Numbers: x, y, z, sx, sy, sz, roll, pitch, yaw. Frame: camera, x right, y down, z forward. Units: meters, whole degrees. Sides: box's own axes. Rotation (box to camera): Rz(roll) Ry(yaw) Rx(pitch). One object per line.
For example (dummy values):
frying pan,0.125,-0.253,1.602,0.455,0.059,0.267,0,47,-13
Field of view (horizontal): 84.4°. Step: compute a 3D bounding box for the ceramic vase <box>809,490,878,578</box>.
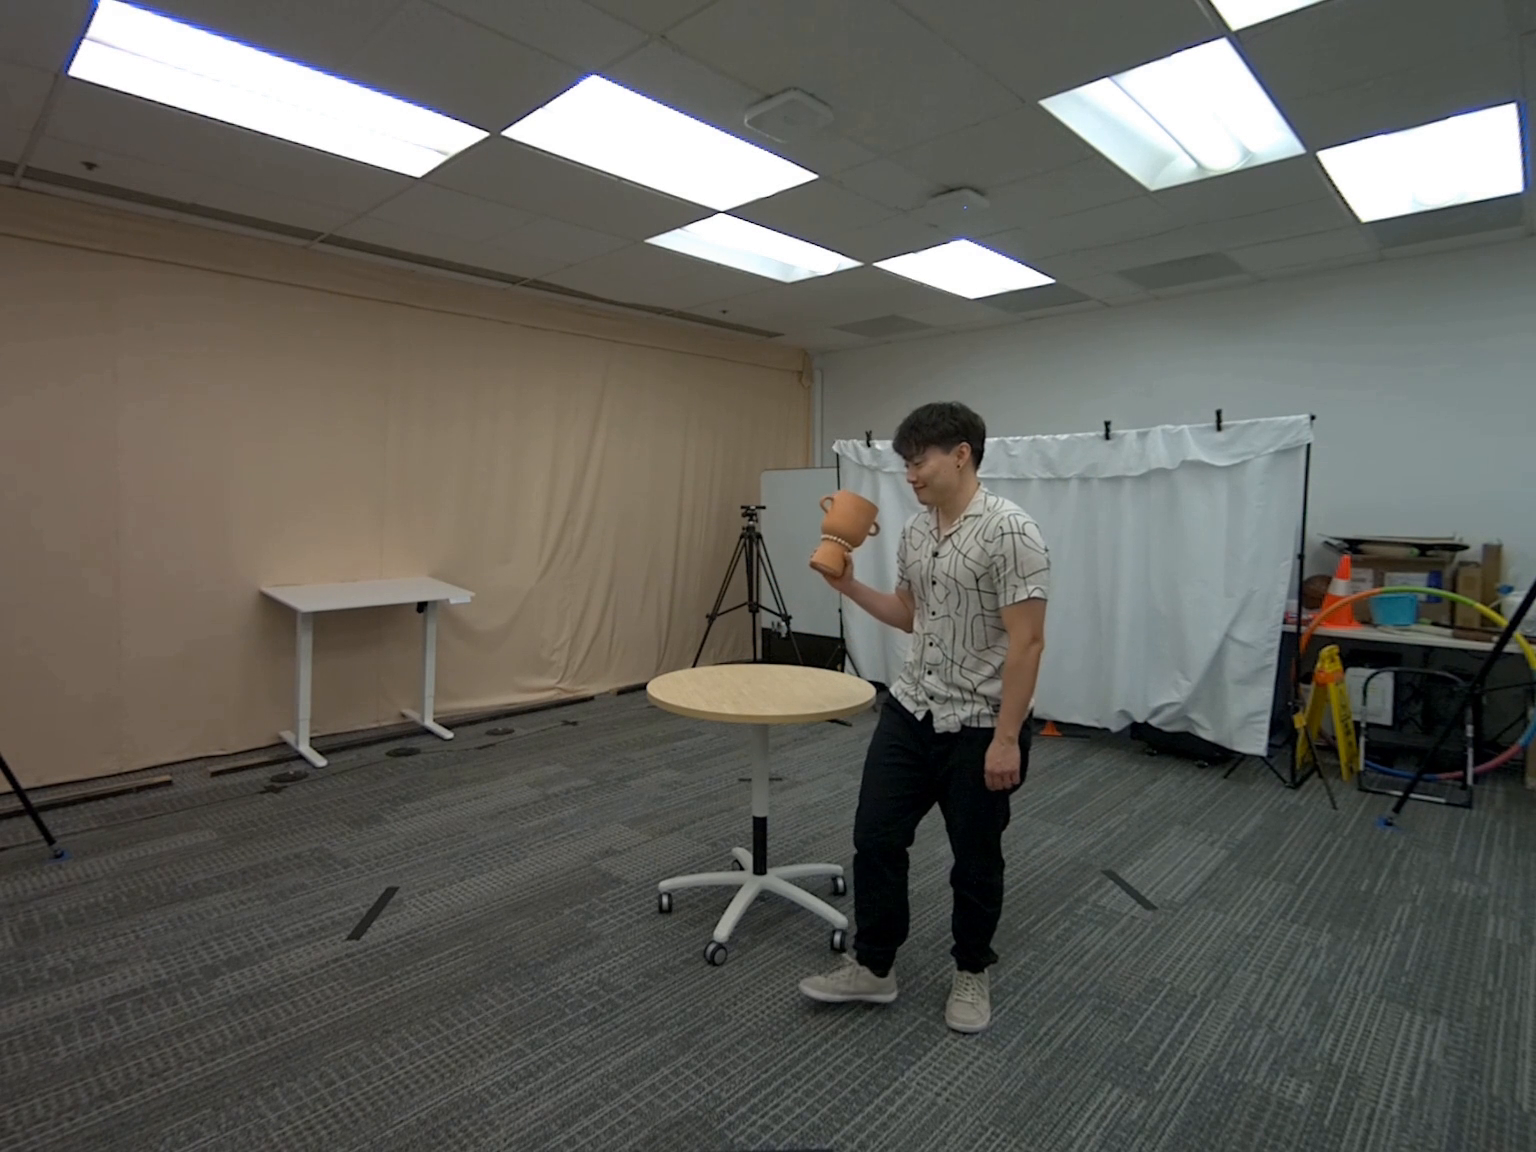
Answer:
ceramic vase,0.216,-0.115,2.379,0.163,0.220,0.131,20,-10,24
